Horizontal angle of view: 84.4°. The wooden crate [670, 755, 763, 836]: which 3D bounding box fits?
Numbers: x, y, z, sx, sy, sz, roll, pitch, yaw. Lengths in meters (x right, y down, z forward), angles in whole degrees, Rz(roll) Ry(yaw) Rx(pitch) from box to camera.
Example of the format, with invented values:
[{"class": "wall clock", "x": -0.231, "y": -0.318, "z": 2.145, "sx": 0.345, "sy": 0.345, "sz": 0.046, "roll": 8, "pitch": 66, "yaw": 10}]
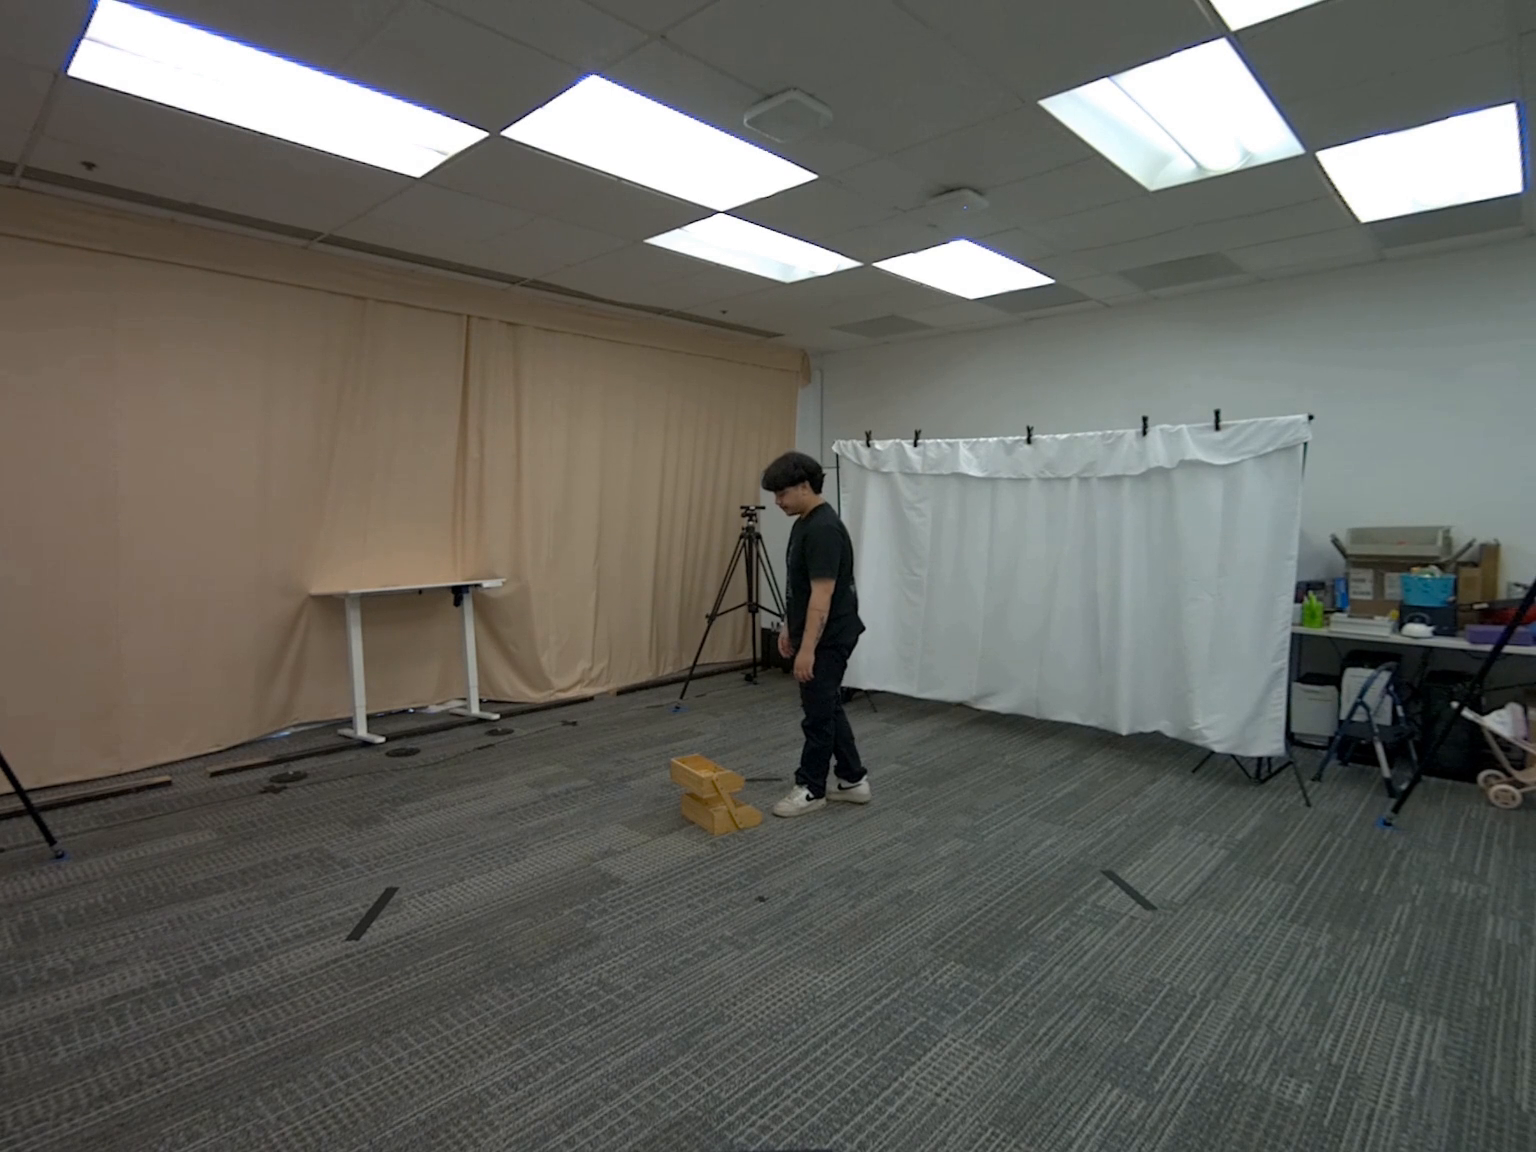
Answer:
[{"class": "wooden crate", "x": -0.231, "y": 0.954, "z": 3.740, "sx": 0.294, "sy": 0.273, "sz": 0.334, "roll": -3, "pitch": 4, "yaw": -33}]
